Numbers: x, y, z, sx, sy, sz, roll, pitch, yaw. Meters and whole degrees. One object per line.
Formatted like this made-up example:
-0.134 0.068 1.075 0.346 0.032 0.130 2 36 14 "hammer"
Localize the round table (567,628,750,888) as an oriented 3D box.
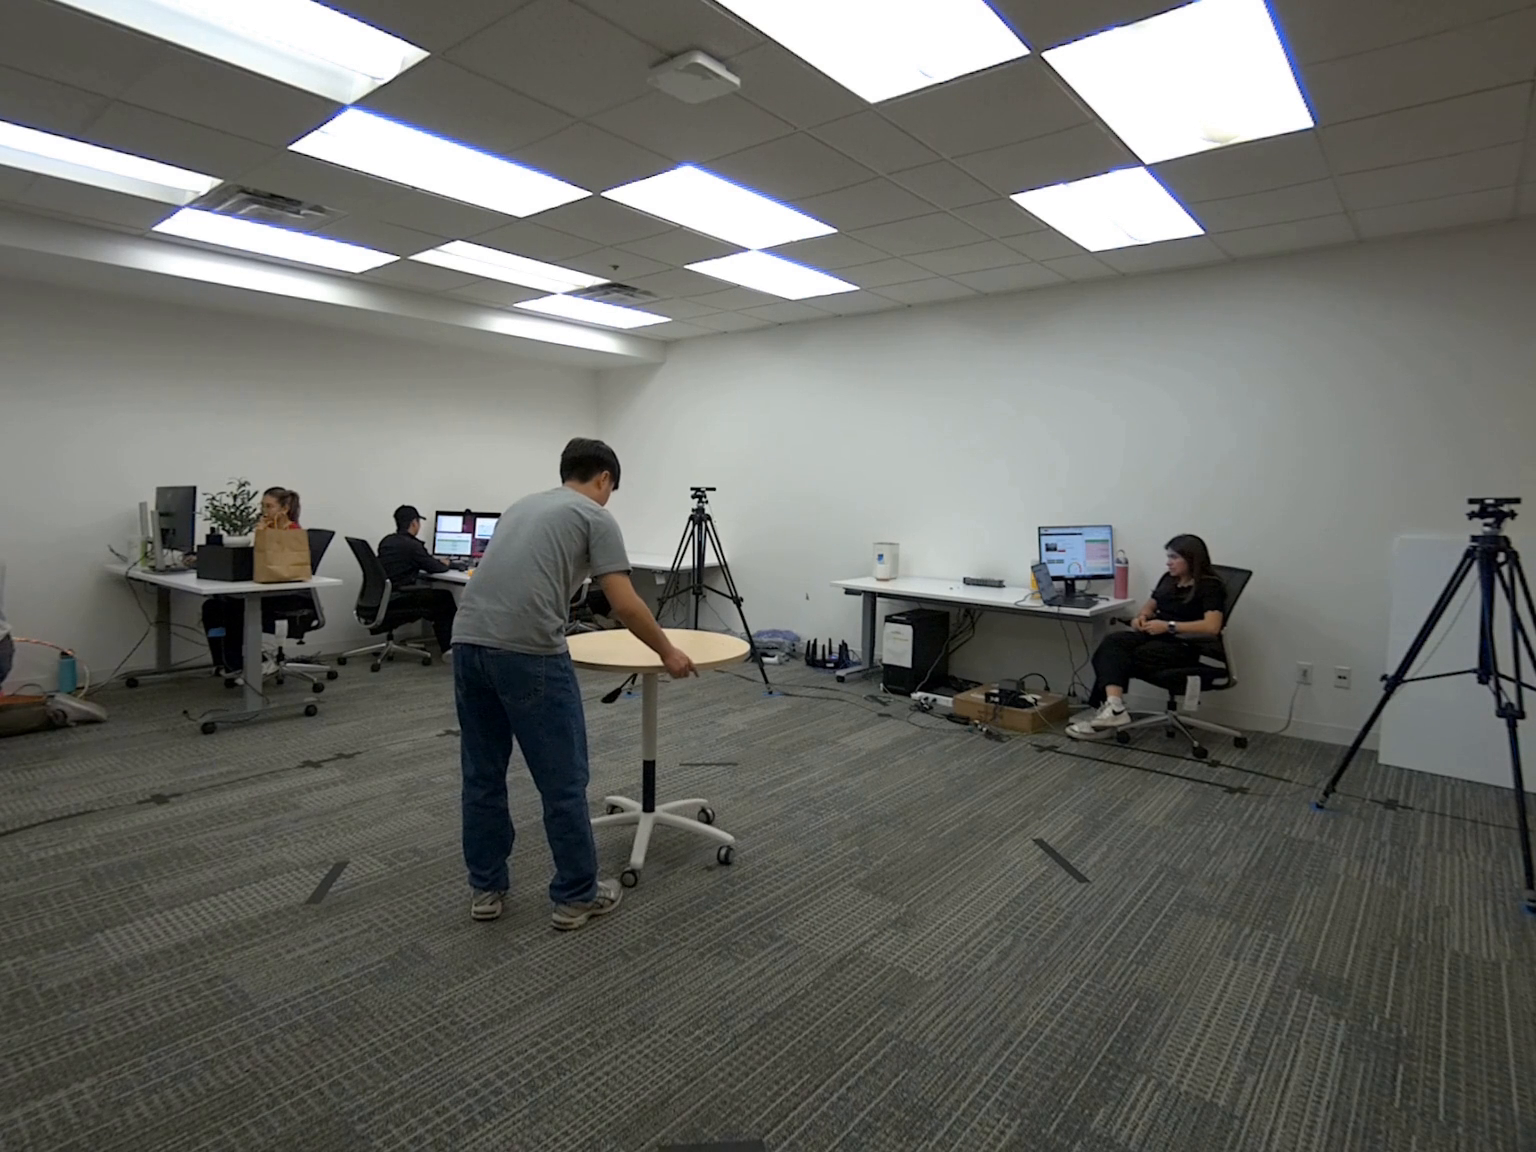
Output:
-0.469 0.655 3.276 0.763 0.791 0.768 1 4 -2 "round table"
